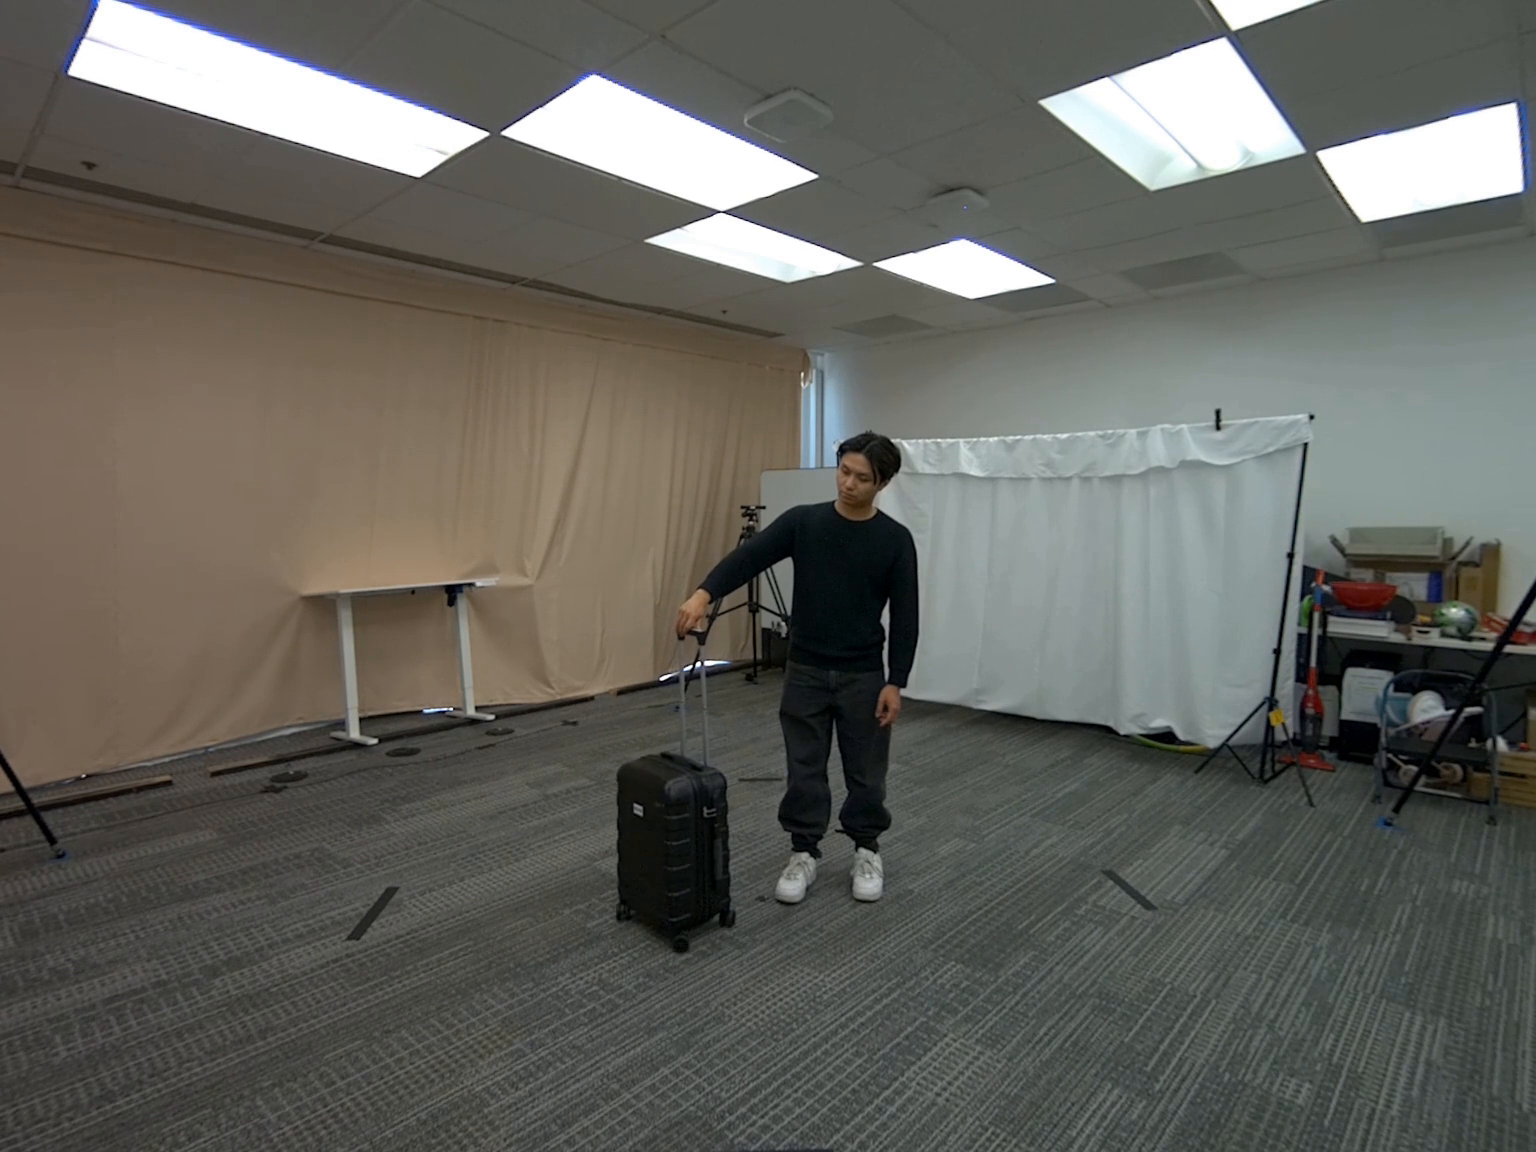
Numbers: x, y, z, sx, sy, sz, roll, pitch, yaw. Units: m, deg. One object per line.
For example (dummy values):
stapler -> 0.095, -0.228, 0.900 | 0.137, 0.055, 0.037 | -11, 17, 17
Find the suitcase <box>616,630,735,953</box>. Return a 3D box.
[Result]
suitcase -> -0.322, 0.688, 2.785 | 0.249, 0.976, 0.397 | -5, 6, -44
